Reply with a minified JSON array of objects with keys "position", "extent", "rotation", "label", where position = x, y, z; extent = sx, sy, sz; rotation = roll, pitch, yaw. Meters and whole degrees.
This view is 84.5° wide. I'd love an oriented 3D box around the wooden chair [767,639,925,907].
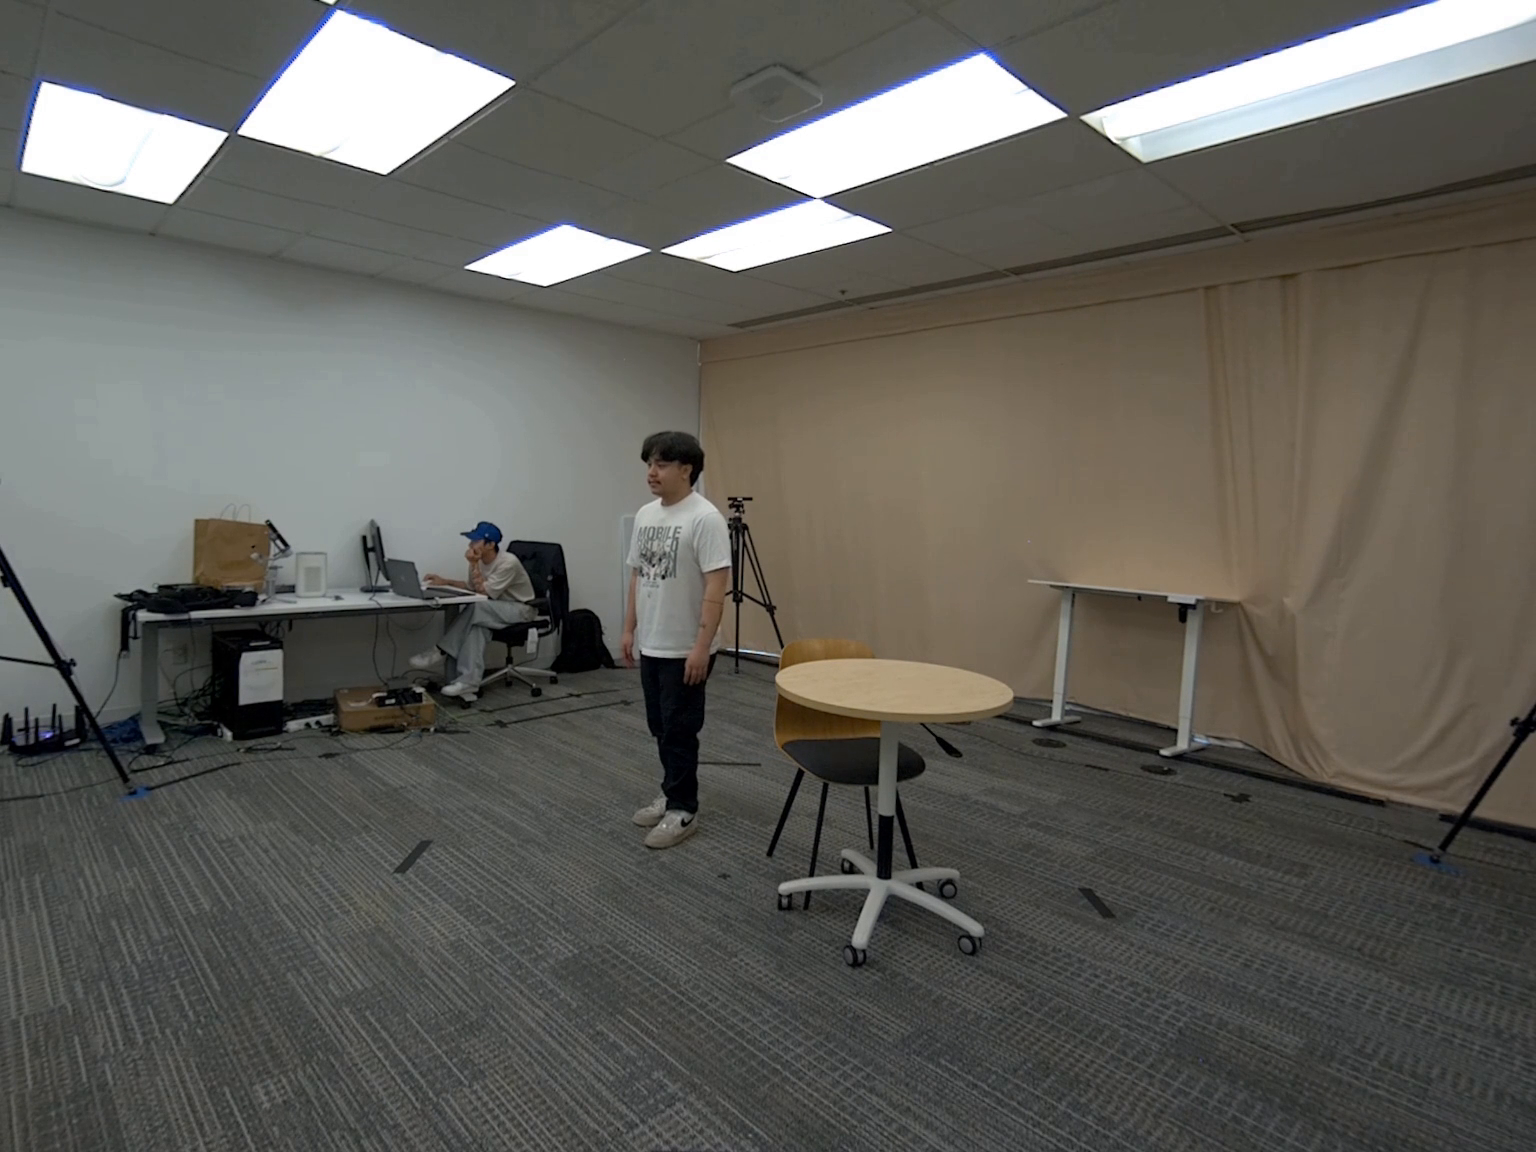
[{"position":[0.277,0.692,3.091],"extent":[0.472,0.878,0.529],"rotation":[1,-1,-16],"label":"wooden chair"}]
